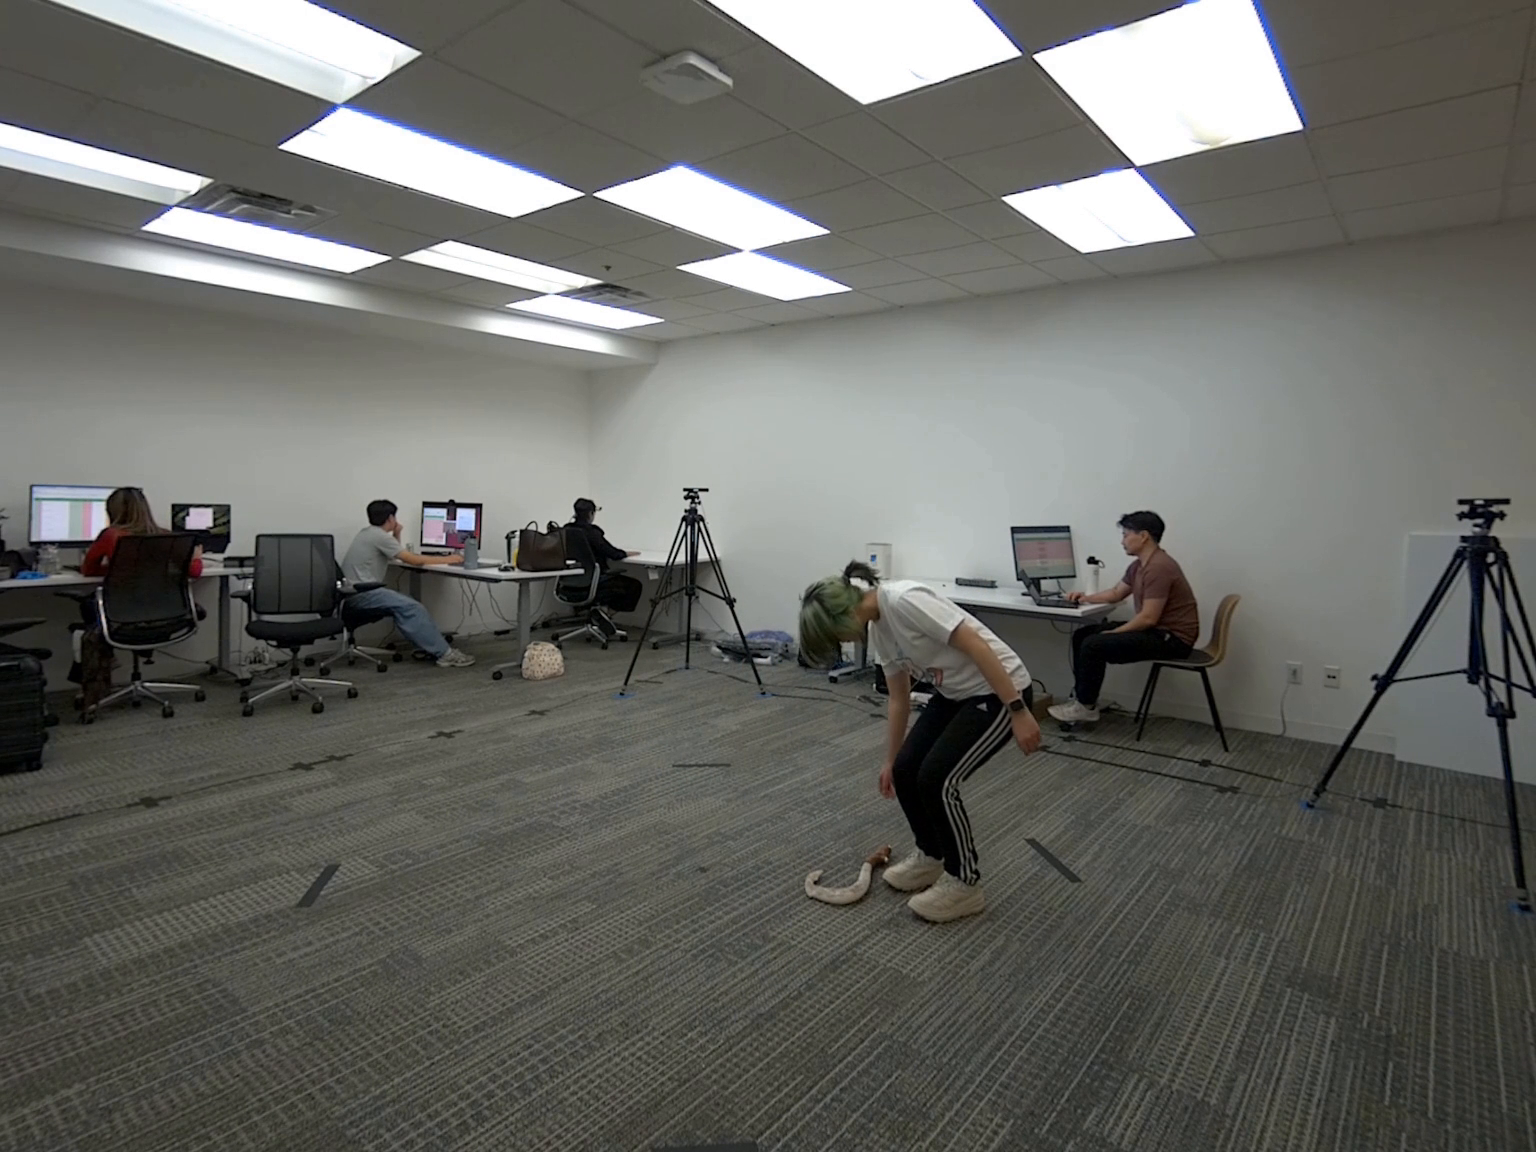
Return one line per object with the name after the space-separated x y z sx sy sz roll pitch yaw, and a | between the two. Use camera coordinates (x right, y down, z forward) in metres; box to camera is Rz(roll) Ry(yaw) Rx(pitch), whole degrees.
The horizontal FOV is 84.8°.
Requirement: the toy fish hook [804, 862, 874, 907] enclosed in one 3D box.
0.290 1.061 3.082 0.231 0.048 0.494 8 8 28 | toy fish hook
